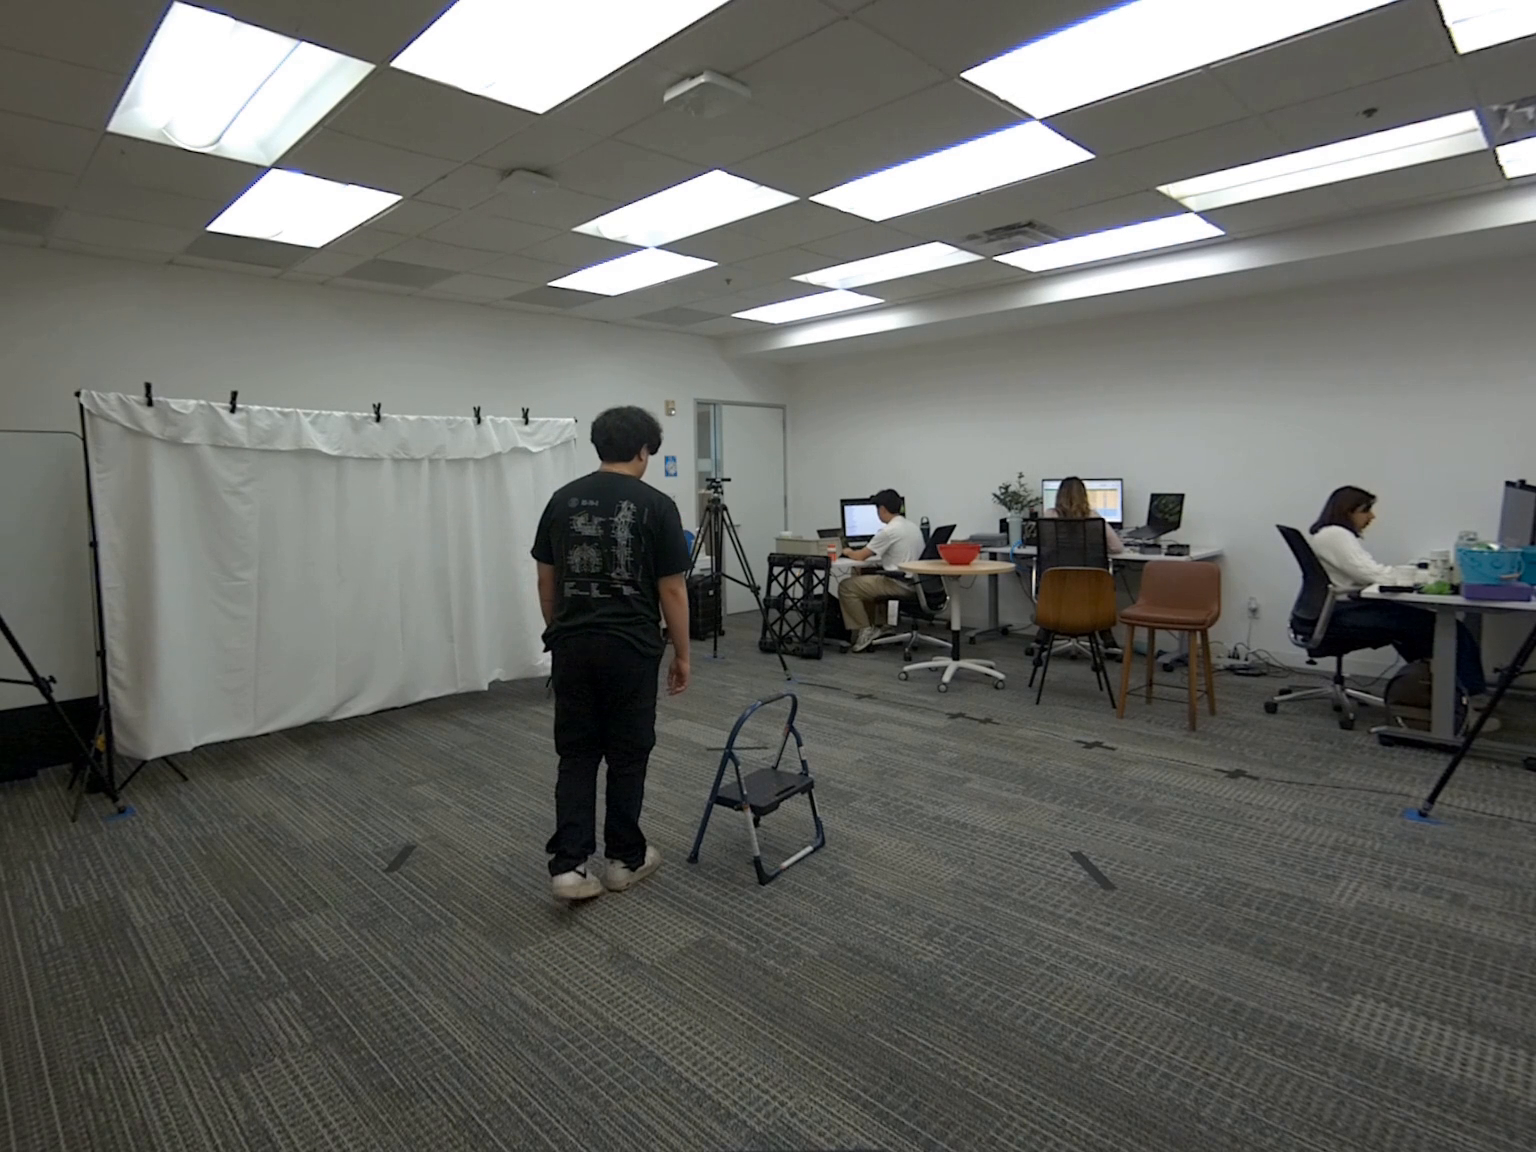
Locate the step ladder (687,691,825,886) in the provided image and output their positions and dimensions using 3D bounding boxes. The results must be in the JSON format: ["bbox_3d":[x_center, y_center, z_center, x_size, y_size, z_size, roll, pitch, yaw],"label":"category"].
[{"bbox_3d":[-0.040,0.731,3.174,0.359,0.604,0.420,1,5,36],"label":"step ladder"}]
